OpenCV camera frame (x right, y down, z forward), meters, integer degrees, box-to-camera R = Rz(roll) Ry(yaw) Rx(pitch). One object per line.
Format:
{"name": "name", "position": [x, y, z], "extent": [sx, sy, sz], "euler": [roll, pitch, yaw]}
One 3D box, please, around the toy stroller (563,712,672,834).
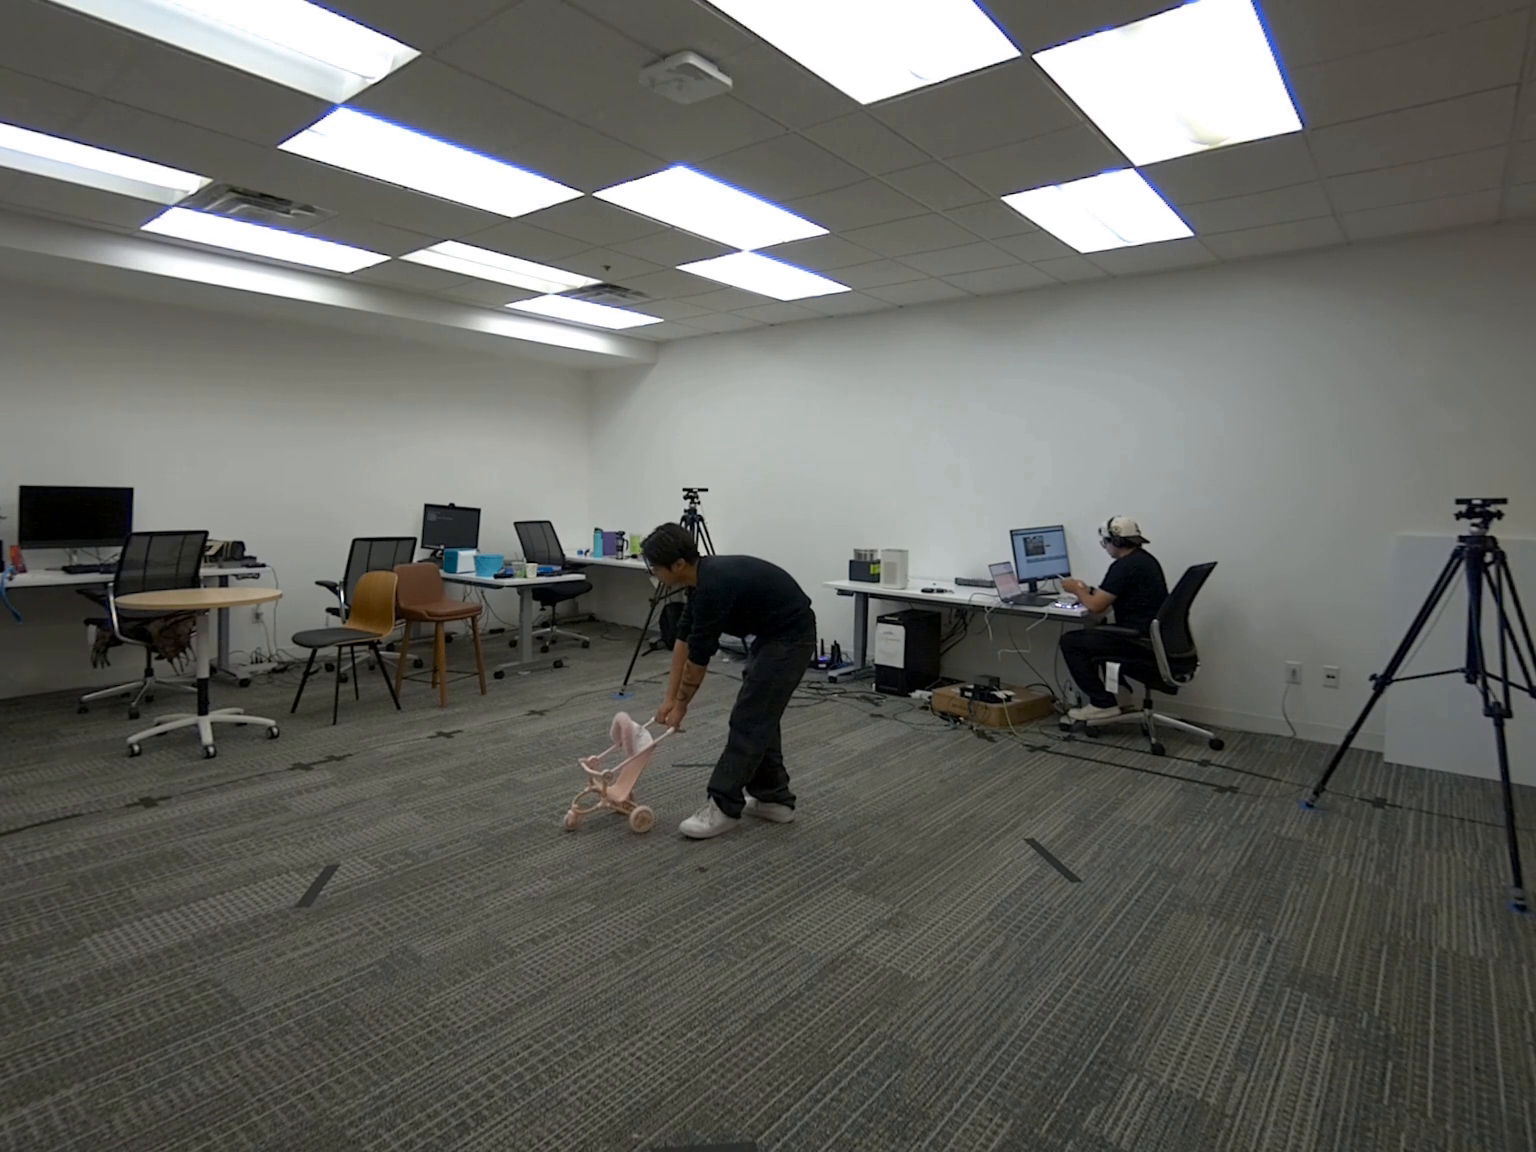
{"name": "toy stroller", "position": [-0.637, 0.801, 3.515], "extent": [0.333, 0.536, 0.288], "euler": [17, -4, -22]}
